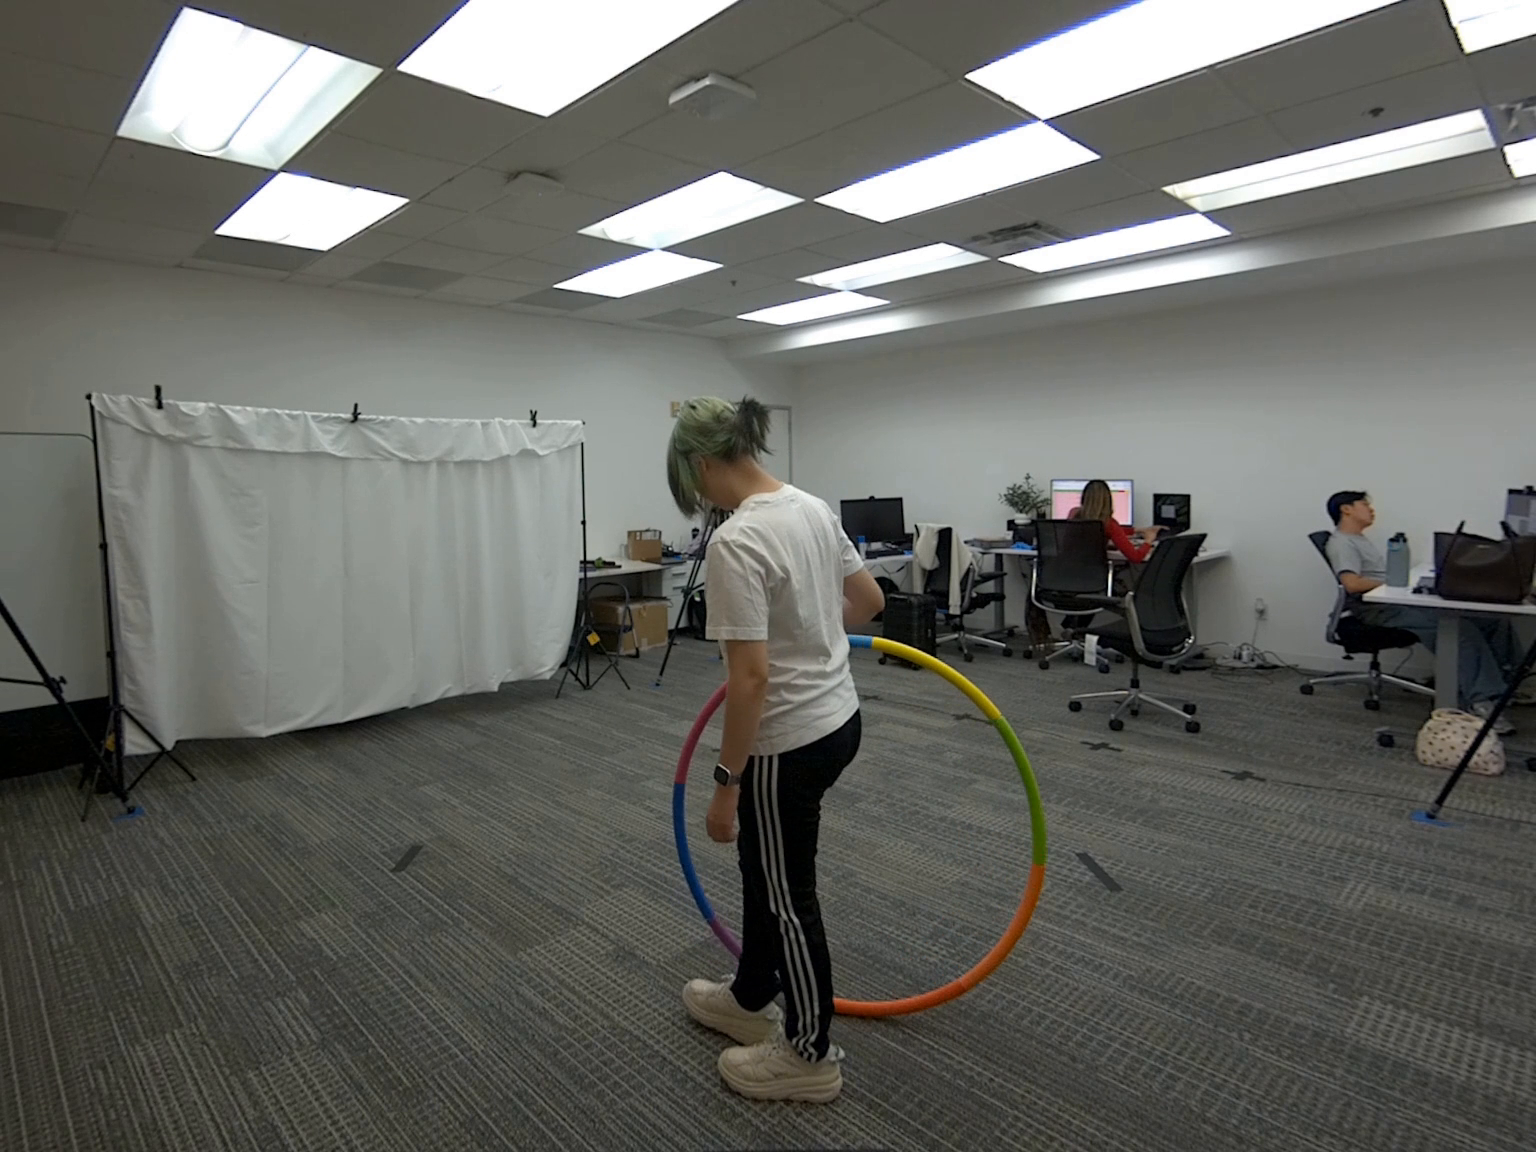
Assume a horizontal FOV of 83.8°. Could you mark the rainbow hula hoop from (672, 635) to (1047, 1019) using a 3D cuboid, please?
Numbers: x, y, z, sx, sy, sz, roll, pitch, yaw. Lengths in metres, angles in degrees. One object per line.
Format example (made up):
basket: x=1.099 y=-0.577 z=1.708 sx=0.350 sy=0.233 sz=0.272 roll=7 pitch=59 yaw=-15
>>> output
rainbow hula hoop: x=0.213 y=0.661 z=2.270 sx=0.992 sy=0.983 sz=0.035 roll=0 pitch=-5 yaw=15
